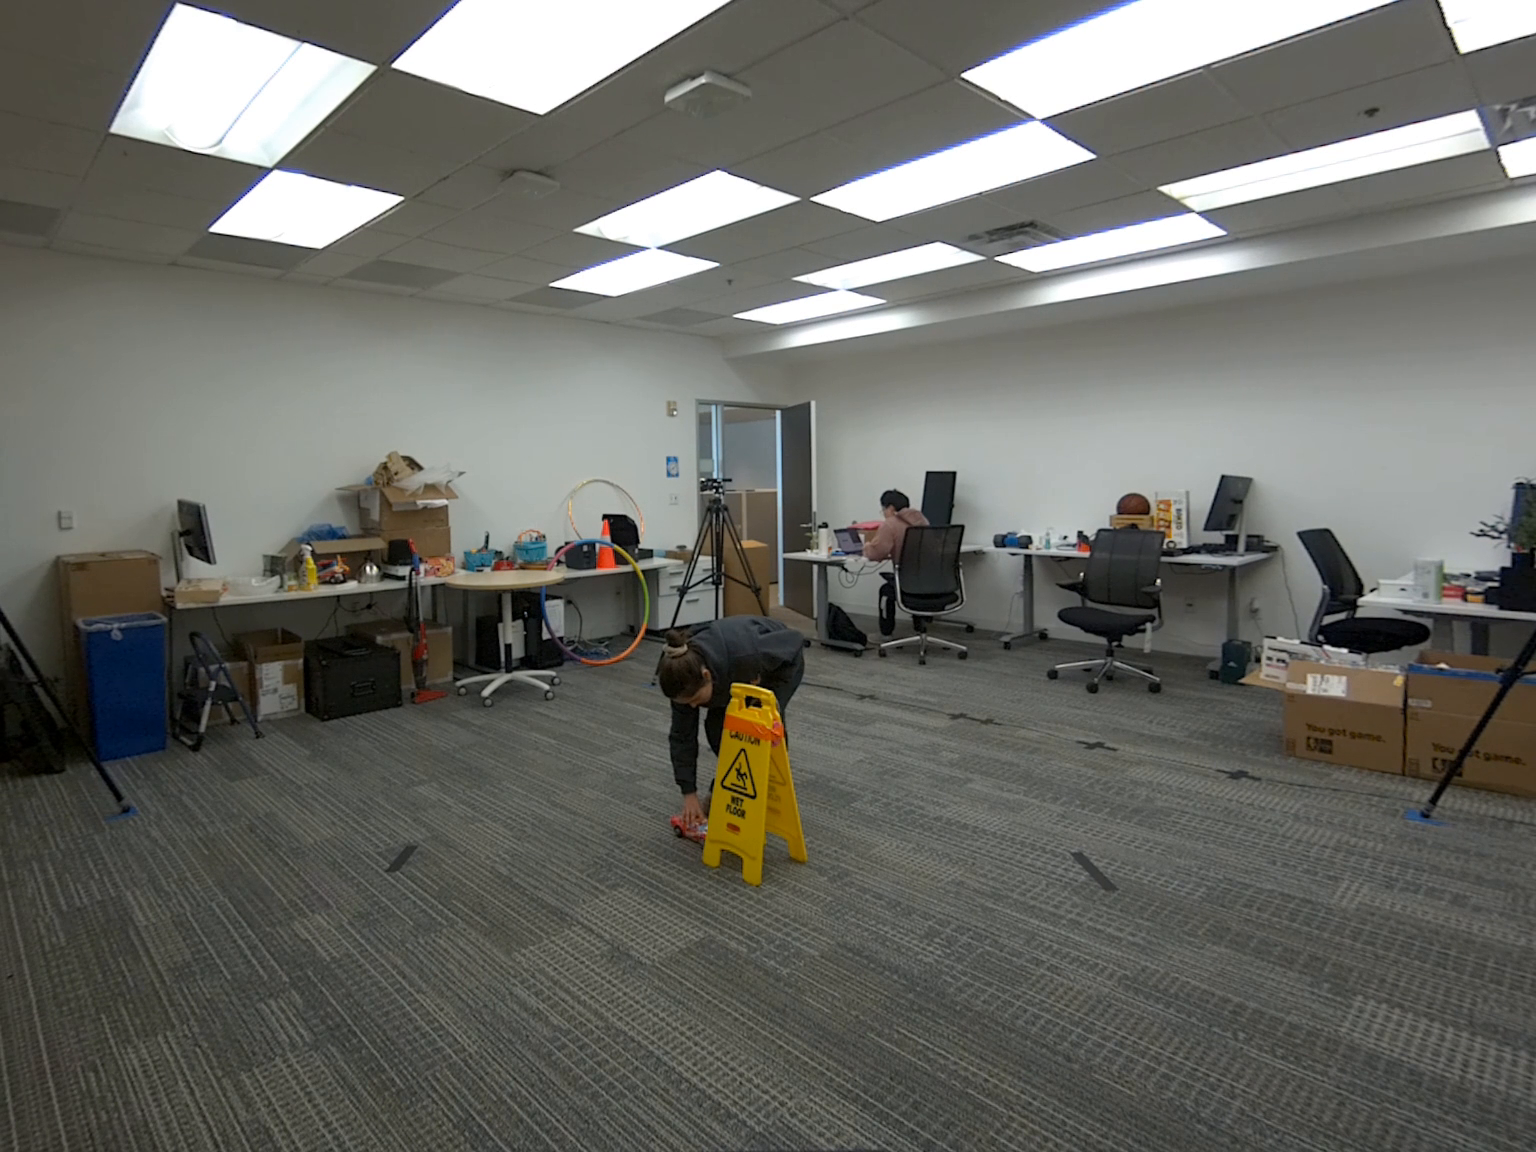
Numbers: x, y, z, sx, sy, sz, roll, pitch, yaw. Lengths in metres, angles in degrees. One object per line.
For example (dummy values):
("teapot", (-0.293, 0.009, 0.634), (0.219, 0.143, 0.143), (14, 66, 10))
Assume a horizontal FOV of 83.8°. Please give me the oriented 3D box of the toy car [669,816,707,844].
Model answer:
("toy car", (-0.272, 0.990, 3.333), (0.127, 0.082, 0.264), (-4, 19, -40))
